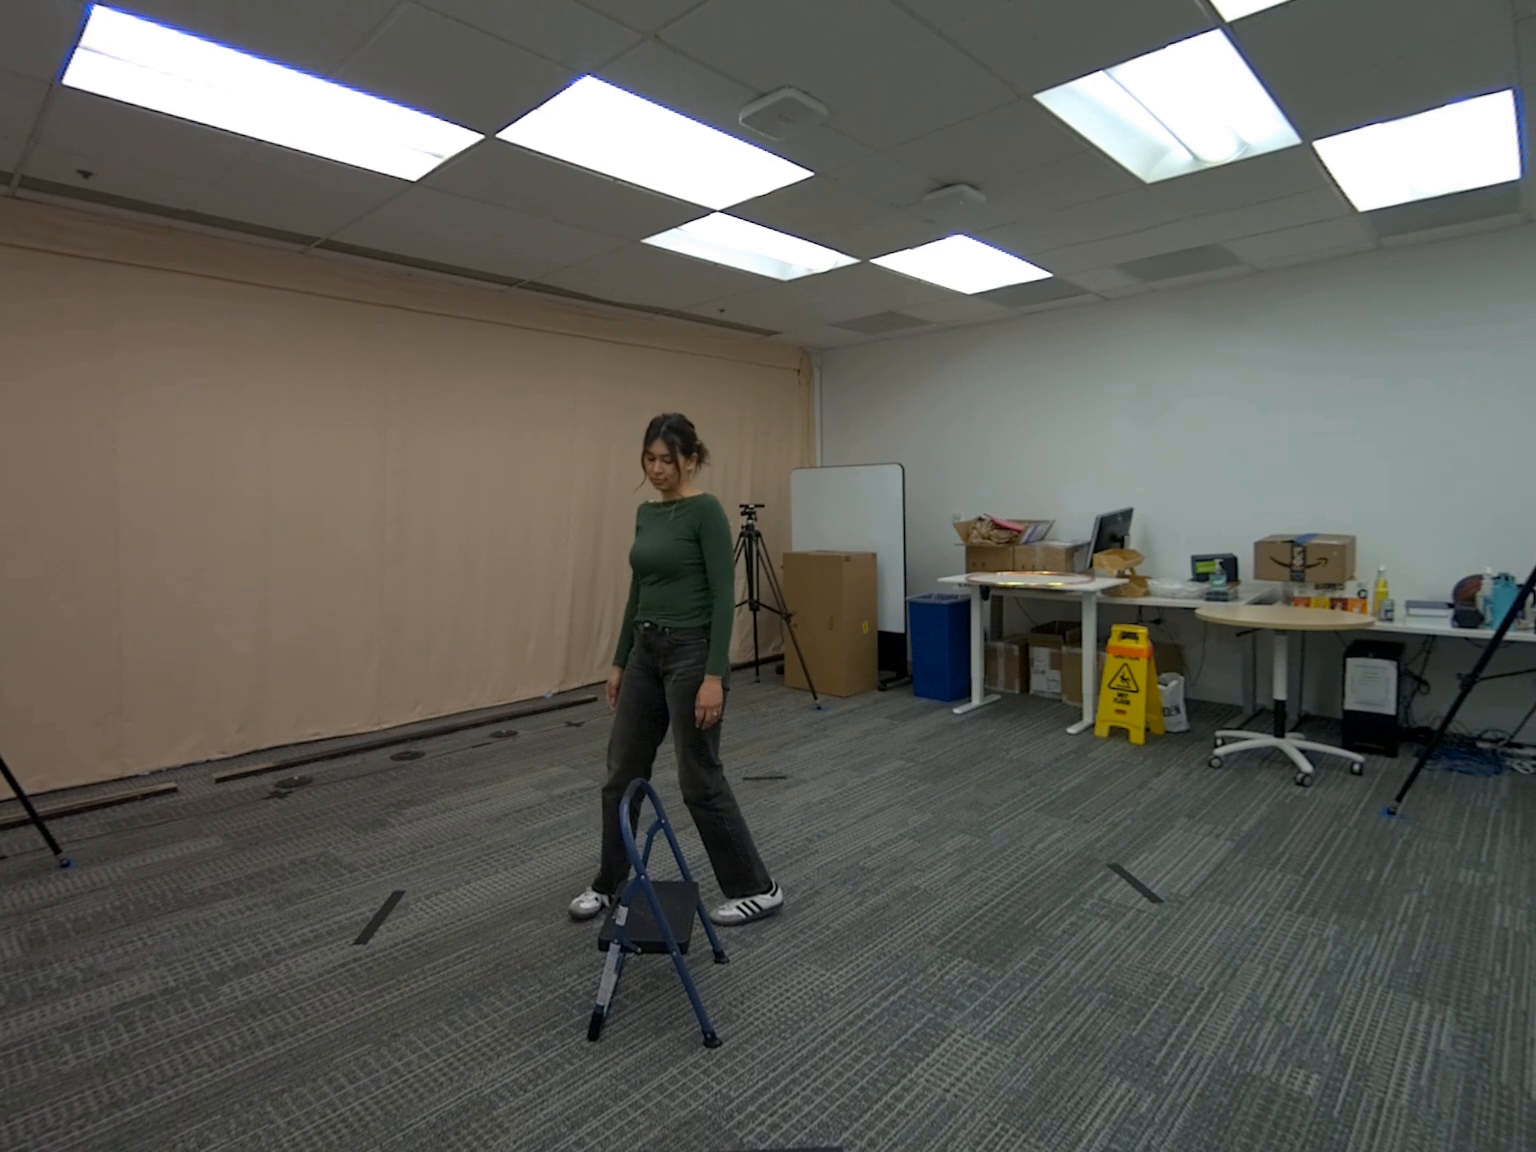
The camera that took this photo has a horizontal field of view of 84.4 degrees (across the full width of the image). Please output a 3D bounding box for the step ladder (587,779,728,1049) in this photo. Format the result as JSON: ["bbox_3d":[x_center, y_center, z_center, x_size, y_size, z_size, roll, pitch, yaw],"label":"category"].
[{"bbox_3d":[-0.304,0.897,2.372,0.350,0.605,0.430,0,3,1],"label":"step ladder"}]
